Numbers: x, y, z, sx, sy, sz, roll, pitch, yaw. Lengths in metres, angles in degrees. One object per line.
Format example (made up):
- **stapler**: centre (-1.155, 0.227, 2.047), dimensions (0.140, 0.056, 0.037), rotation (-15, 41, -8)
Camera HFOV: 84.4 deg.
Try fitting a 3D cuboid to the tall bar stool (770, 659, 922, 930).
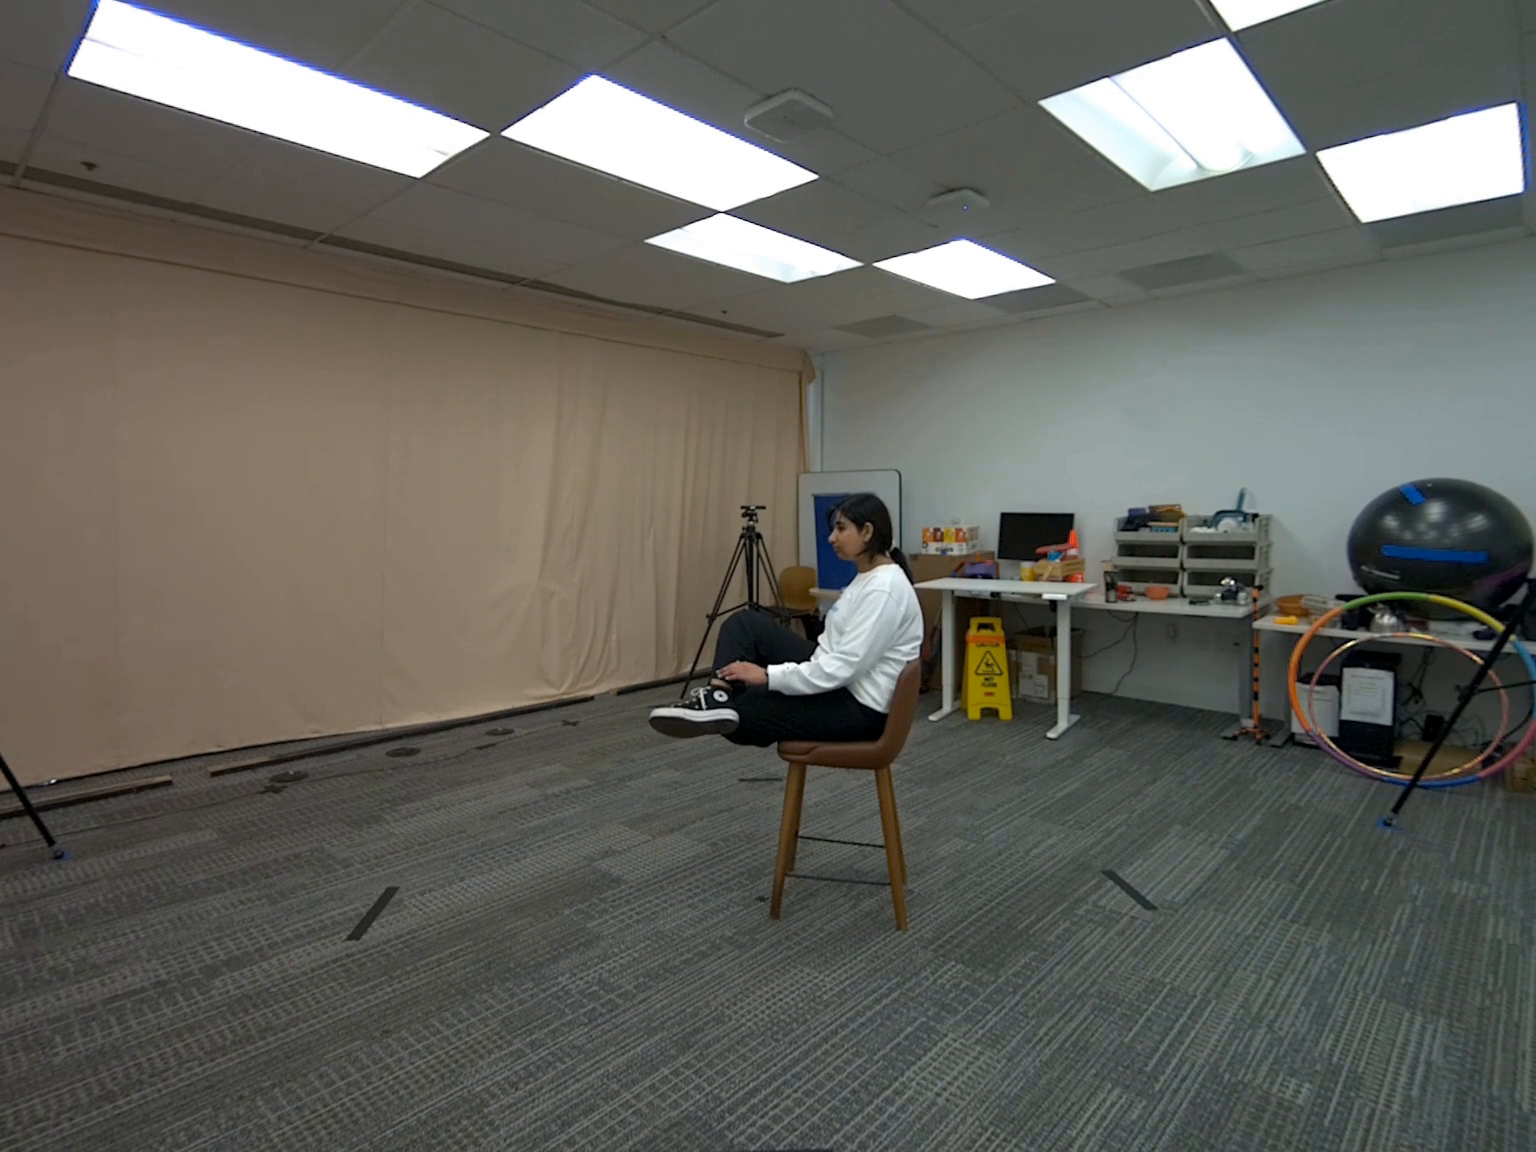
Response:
- **tall bar stool**: centre (0.278, 0.715, 2.956), dimensions (0.474, 0.888, 0.451), rotation (3, 3, 12)
